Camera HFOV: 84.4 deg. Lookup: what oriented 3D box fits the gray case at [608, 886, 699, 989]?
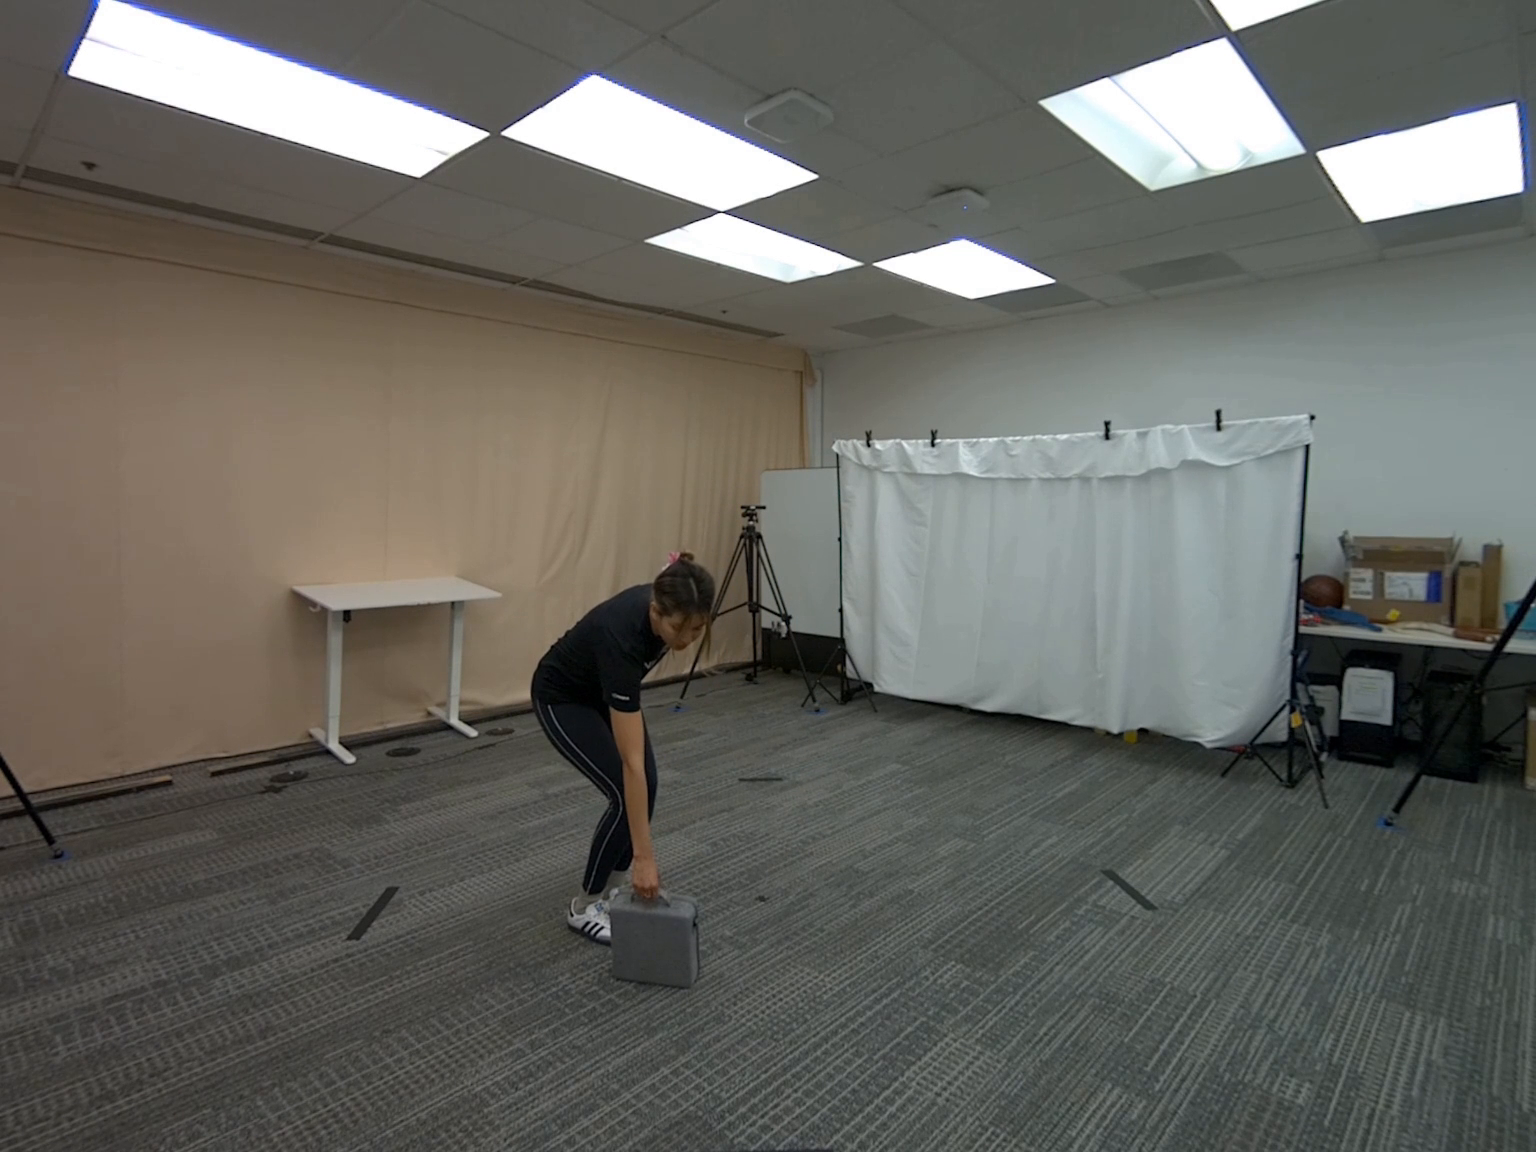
[{"bbox_3d":[-0.328,1.058,2.463,0.261,0.258,0.103,1,12,14],"label":"gray case"}]
